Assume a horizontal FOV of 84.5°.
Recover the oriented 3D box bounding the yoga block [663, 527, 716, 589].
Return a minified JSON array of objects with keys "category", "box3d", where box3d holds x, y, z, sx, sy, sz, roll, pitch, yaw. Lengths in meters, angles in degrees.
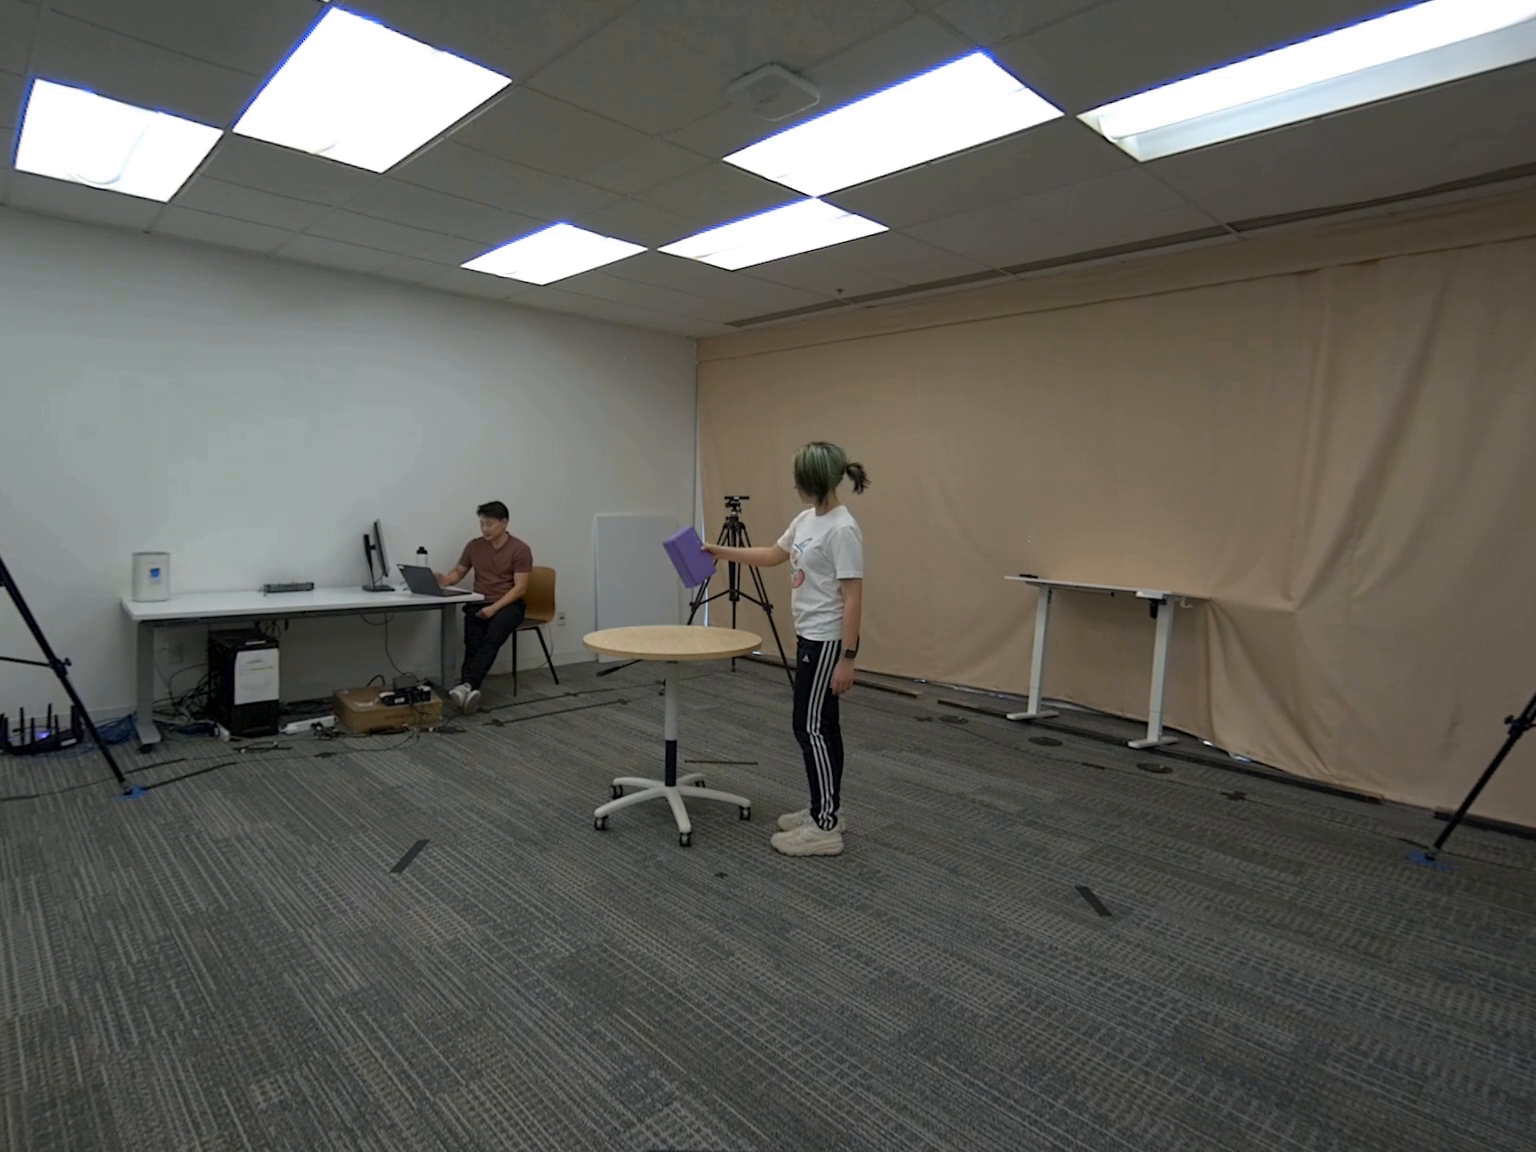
[{"category":"yoga block","box3d":[-0.334,-0.077,3.595,0.078,0.227,0.148,-17,15,45]}]
